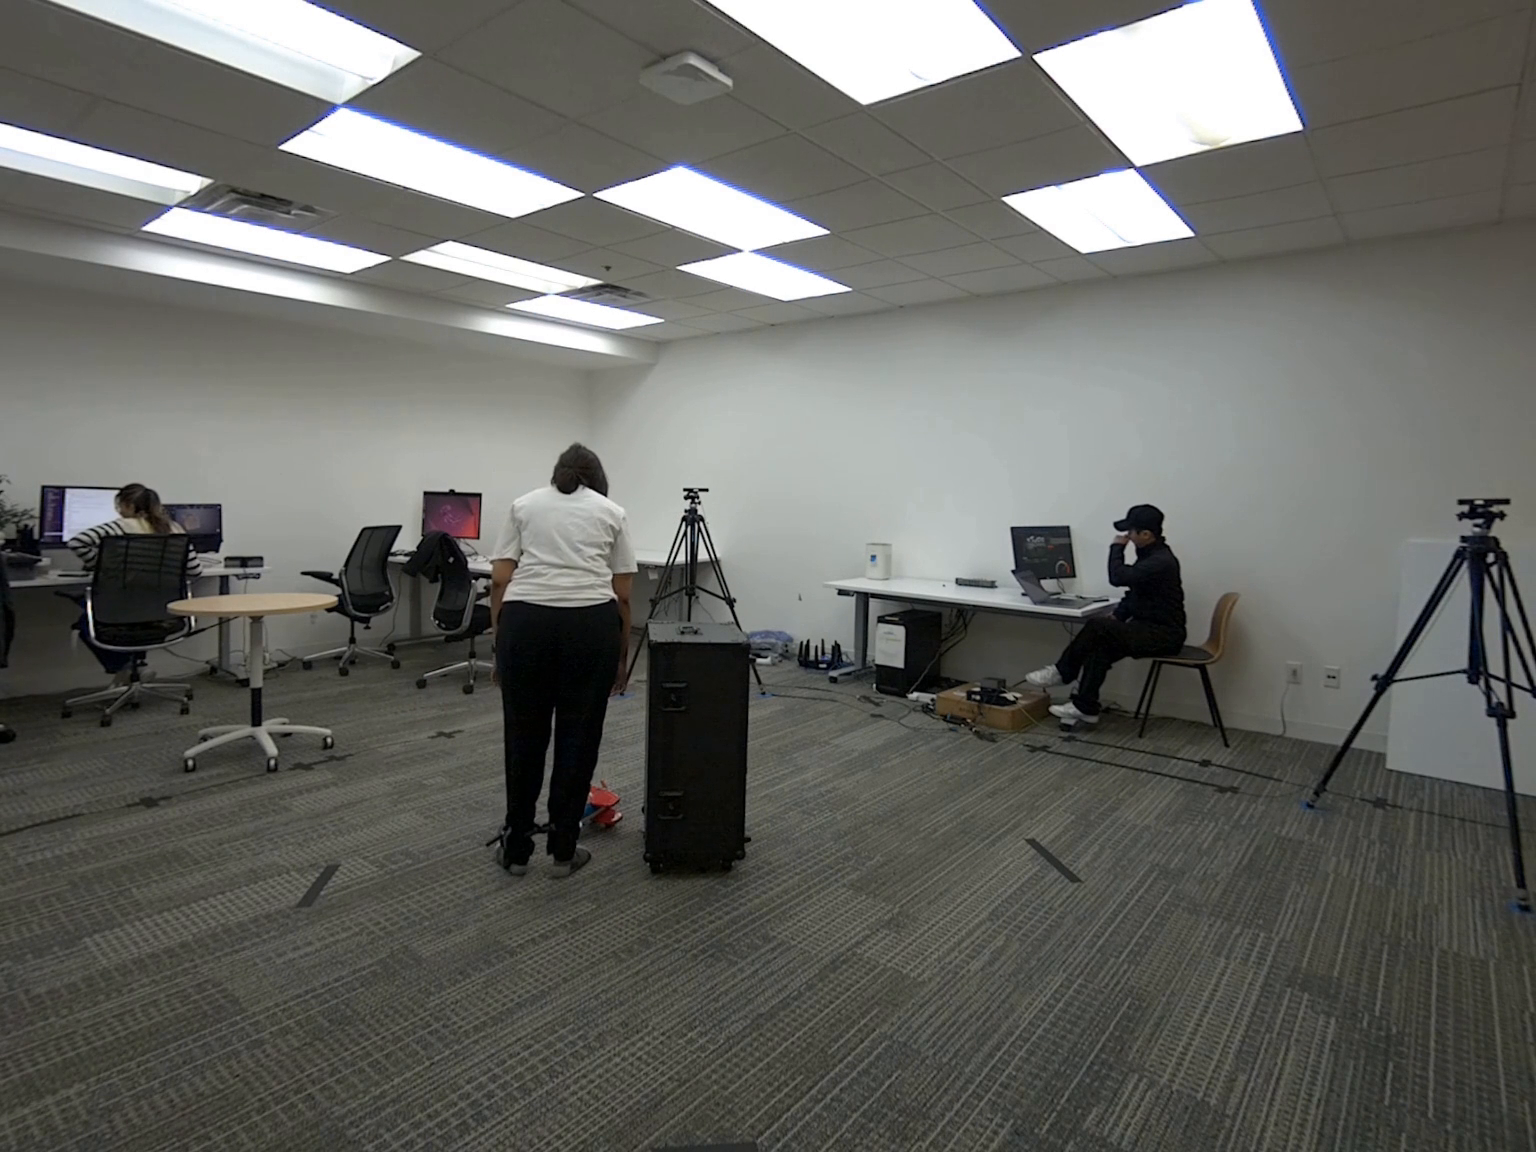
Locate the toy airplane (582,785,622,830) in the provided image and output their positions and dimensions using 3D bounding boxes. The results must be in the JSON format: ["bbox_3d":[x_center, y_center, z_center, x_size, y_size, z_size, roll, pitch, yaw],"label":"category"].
[{"bbox_3d":[-0.725,0.962,3.448,0.252,0.156,0.258,1,2,4],"label":"toy airplane"}]
